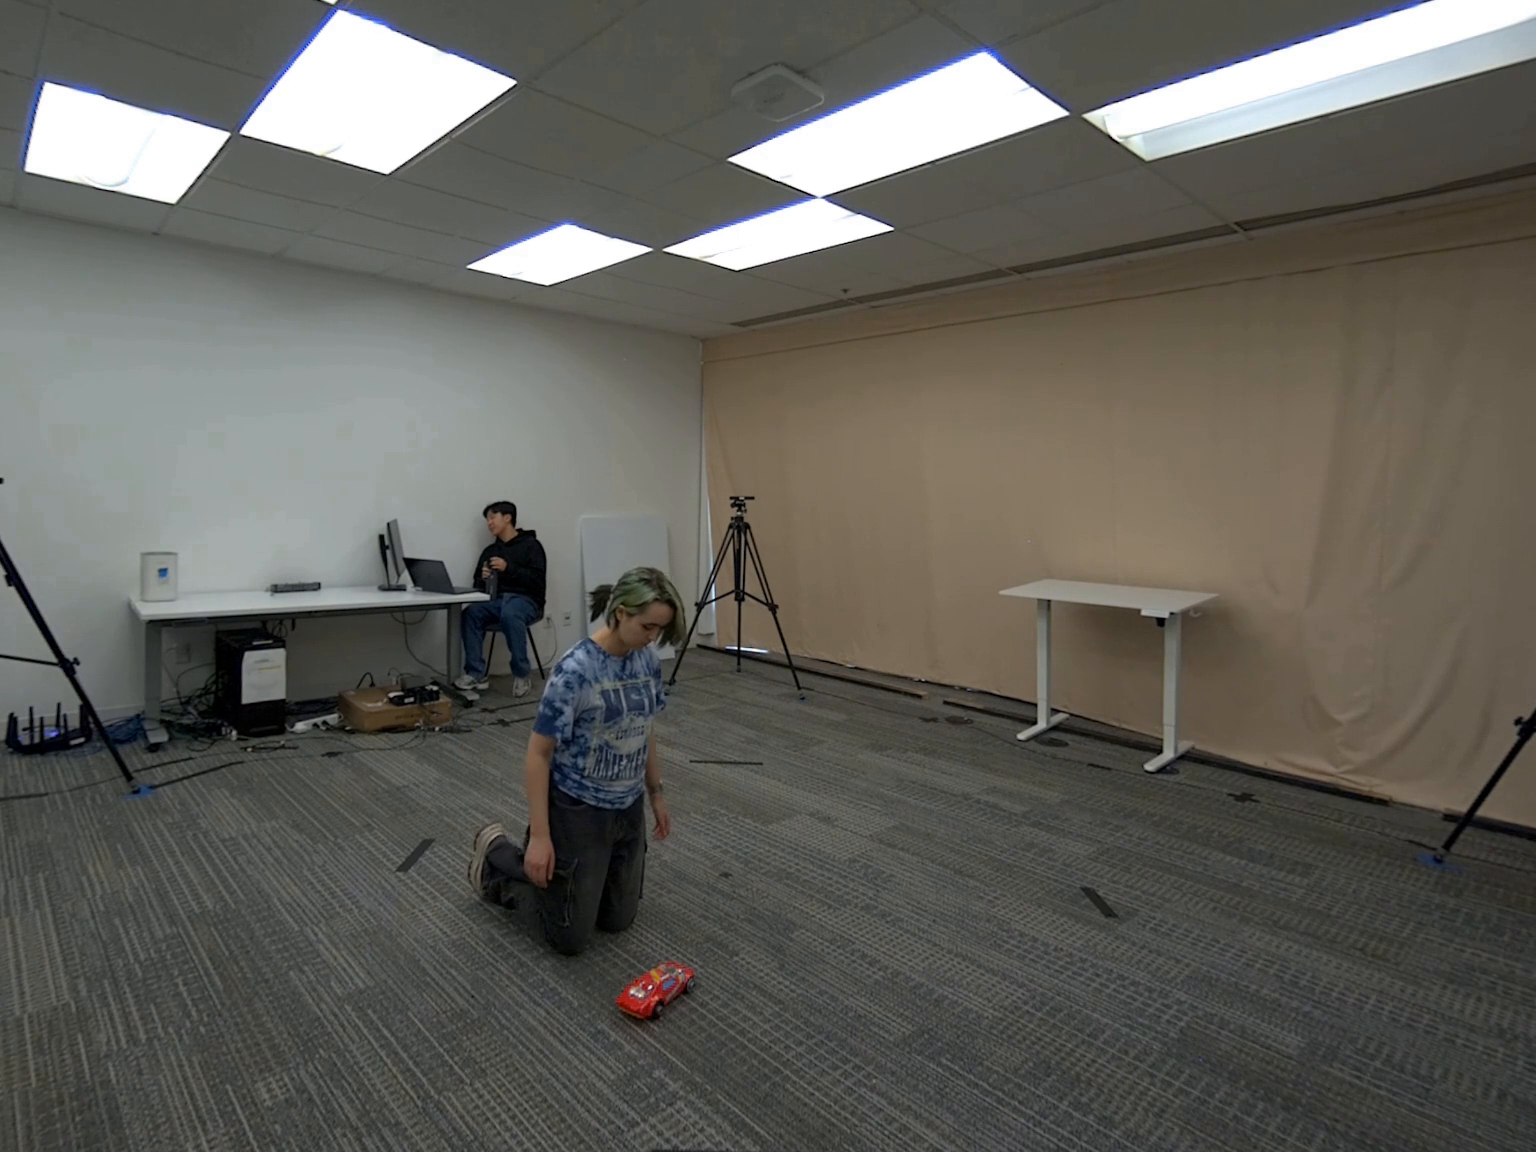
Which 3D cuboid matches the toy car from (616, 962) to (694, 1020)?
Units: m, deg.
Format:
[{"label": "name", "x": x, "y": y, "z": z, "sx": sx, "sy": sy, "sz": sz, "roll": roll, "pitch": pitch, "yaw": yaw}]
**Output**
[{"label": "toy car", "x": -0.315, "y": 1.146, "z": 2.301, "sx": 0.133, "sy": 0.083, "sz": 0.248, "roll": 4, "pitch": -4, "yaw": 32}]
